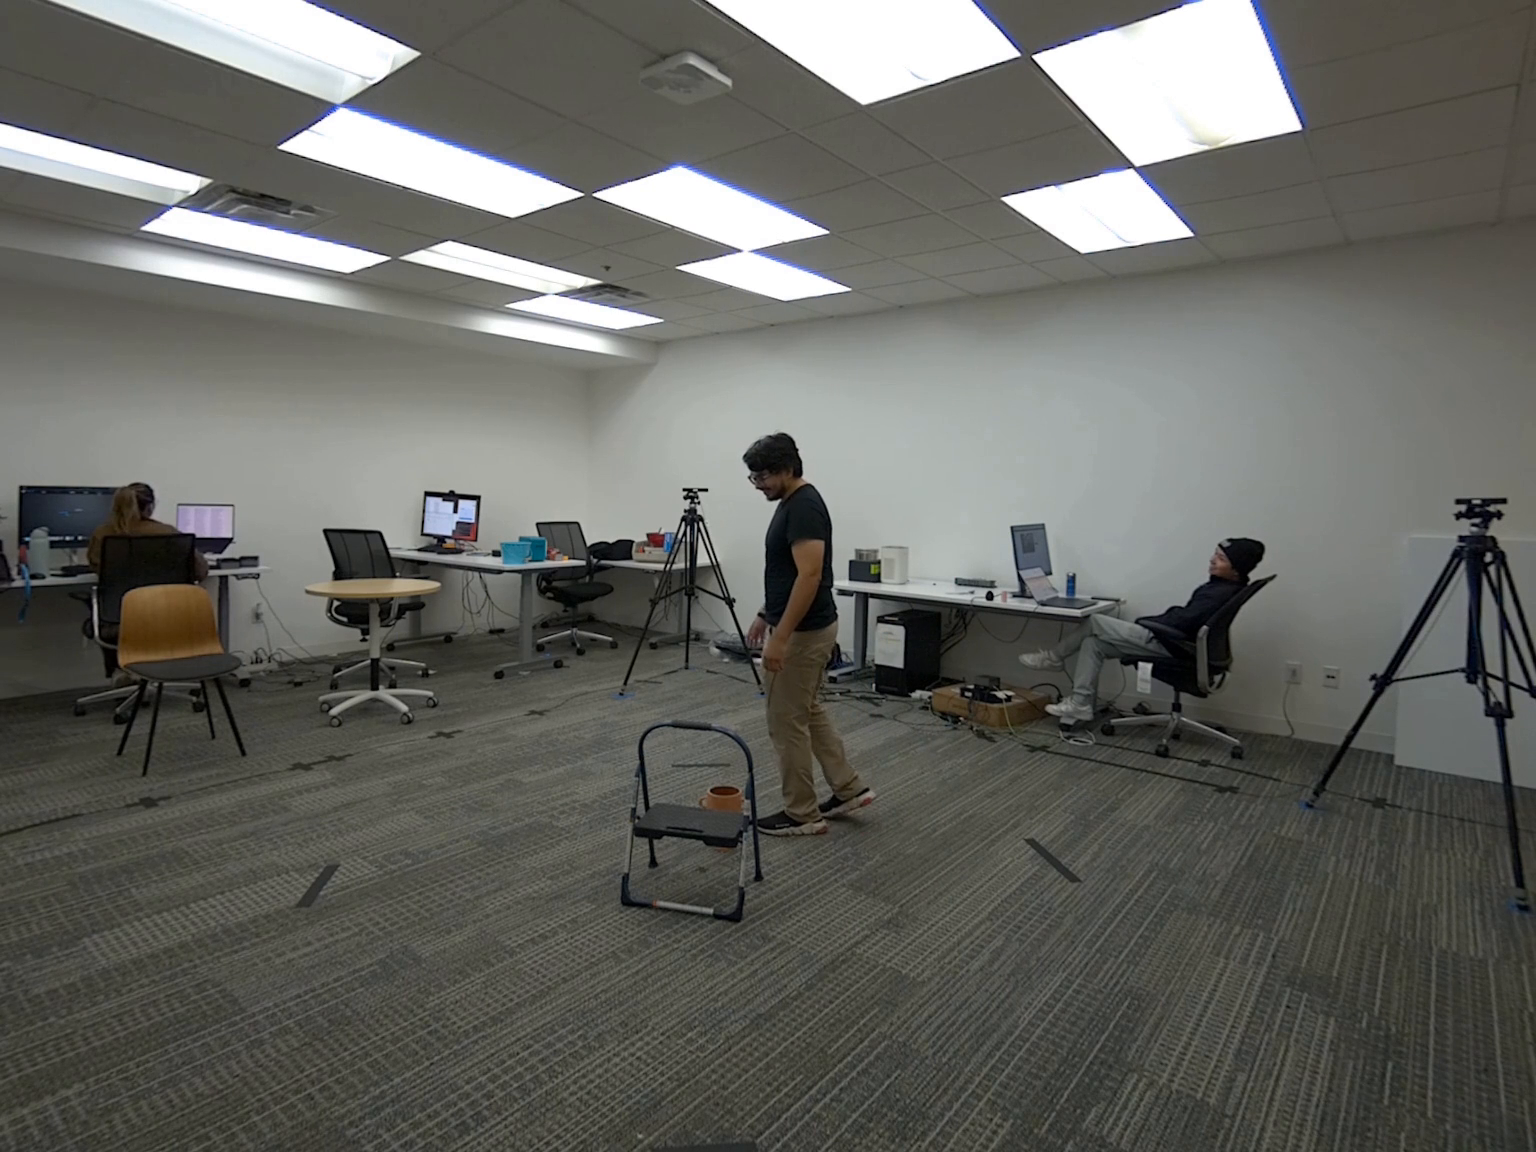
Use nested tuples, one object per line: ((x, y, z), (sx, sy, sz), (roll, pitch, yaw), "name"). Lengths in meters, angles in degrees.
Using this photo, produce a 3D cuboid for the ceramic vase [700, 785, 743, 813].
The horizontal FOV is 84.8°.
((-0.177, 0.933, 3.304), (0.164, 0.219, 0.130), (4, 4, 44), "ceramic vase")
